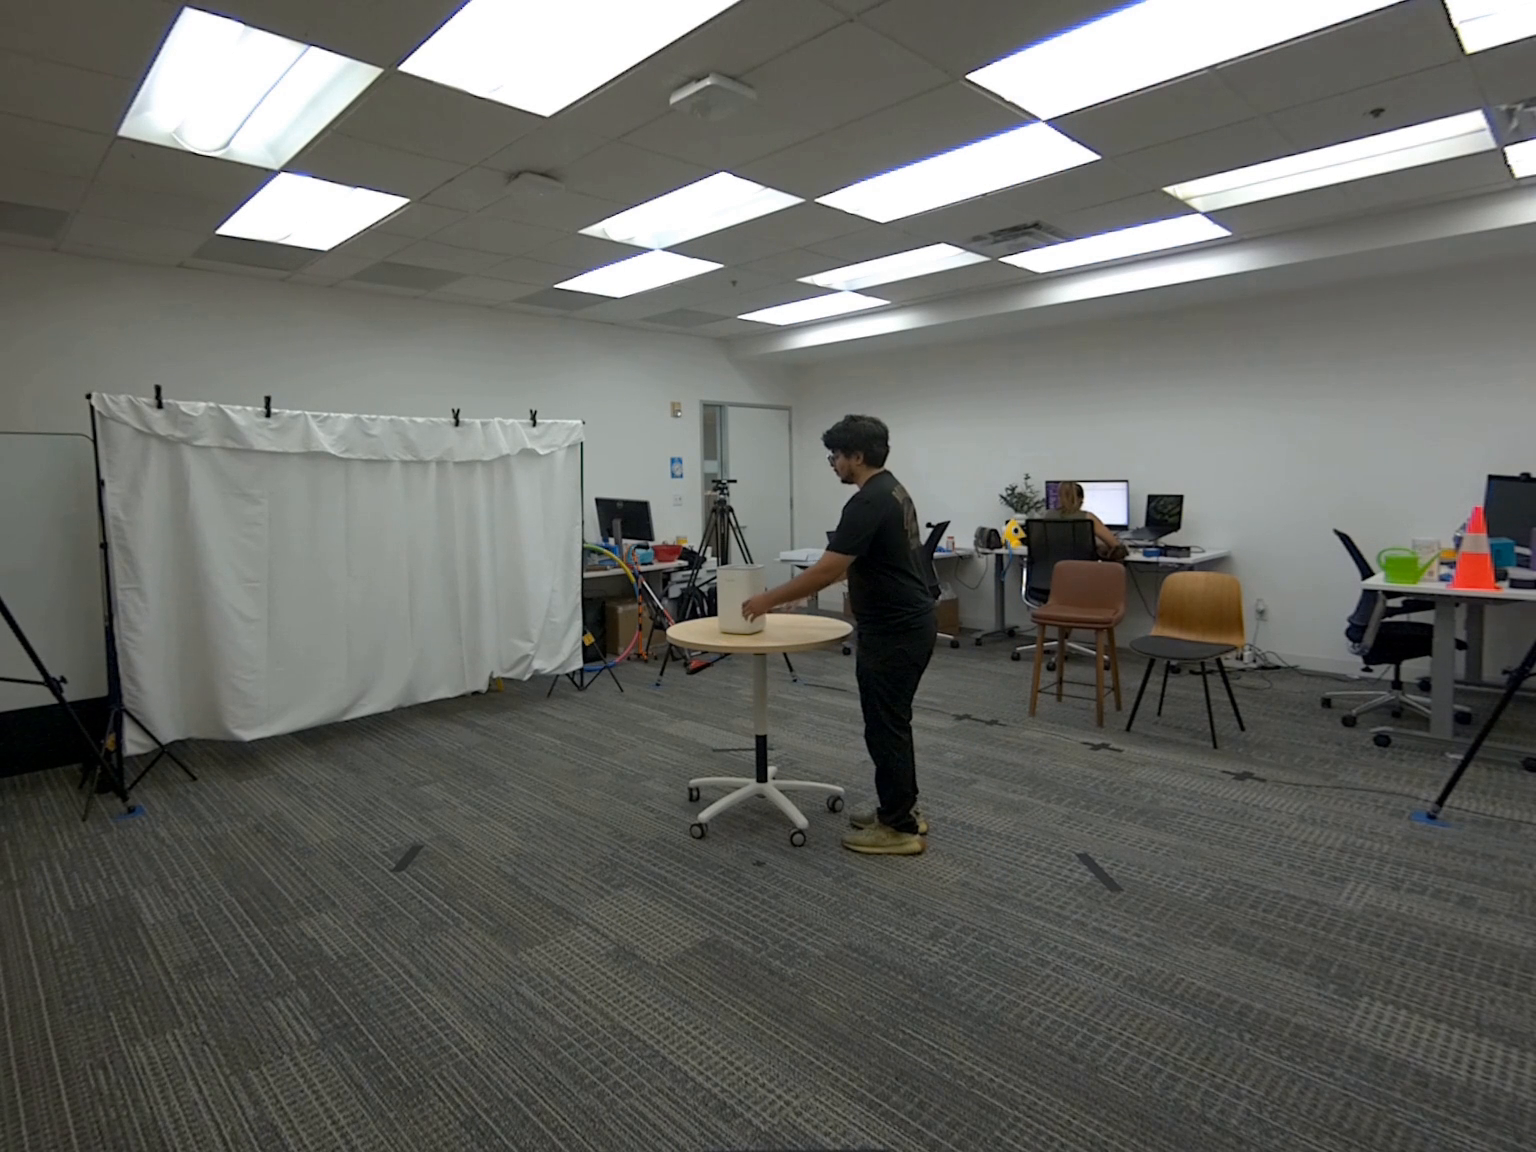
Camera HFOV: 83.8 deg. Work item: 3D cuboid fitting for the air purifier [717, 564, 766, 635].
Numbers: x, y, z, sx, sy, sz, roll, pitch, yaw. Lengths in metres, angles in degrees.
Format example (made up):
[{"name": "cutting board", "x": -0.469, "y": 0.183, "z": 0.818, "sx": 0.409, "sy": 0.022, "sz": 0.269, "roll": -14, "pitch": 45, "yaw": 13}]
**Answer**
[{"name": "air purifier", "x": -0.103, "y": 0.089, "z": 3.459, "sx": 0.175, "sy": 0.264, "sz": 0.168, "roll": 1, "pitch": 6, "yaw": 26}]
